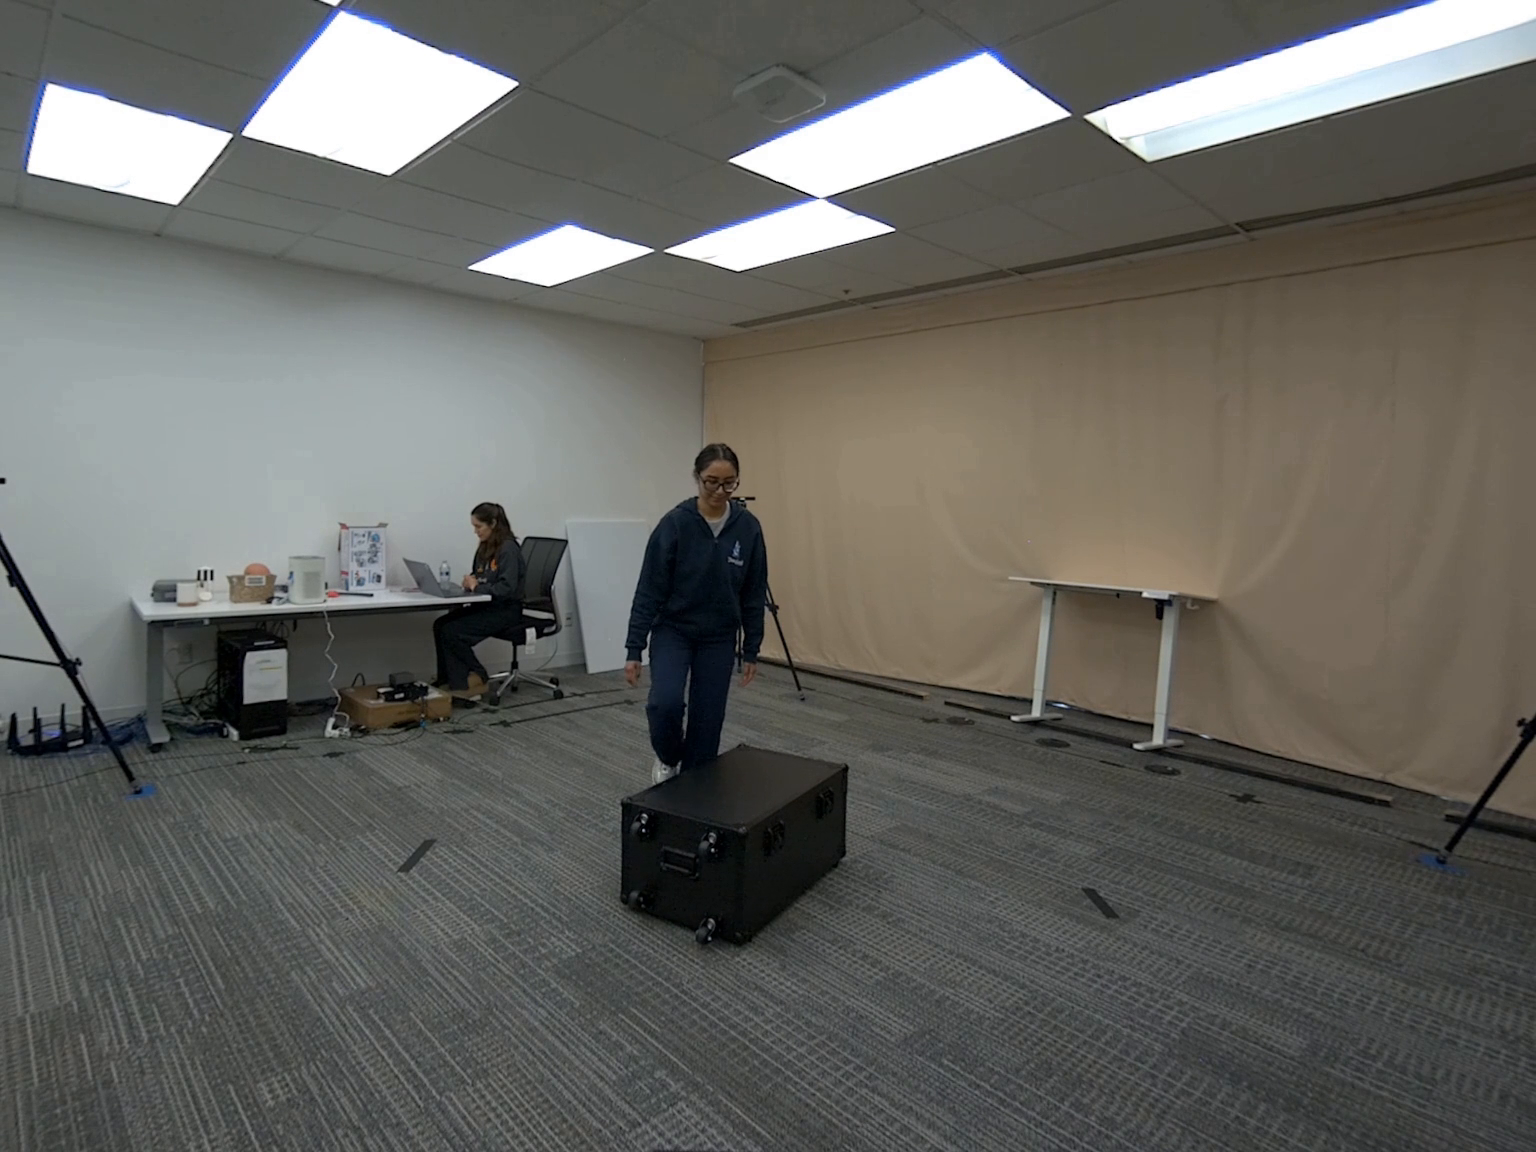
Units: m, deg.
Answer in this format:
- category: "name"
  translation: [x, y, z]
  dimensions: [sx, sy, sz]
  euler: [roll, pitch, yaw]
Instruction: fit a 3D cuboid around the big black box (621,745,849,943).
- category: "big black box"
  translation: [-0.117, 0.924, 2.999]
  dimensions: [0.533, 0.395, 0.845]
  euler: [4, 5, 29]
